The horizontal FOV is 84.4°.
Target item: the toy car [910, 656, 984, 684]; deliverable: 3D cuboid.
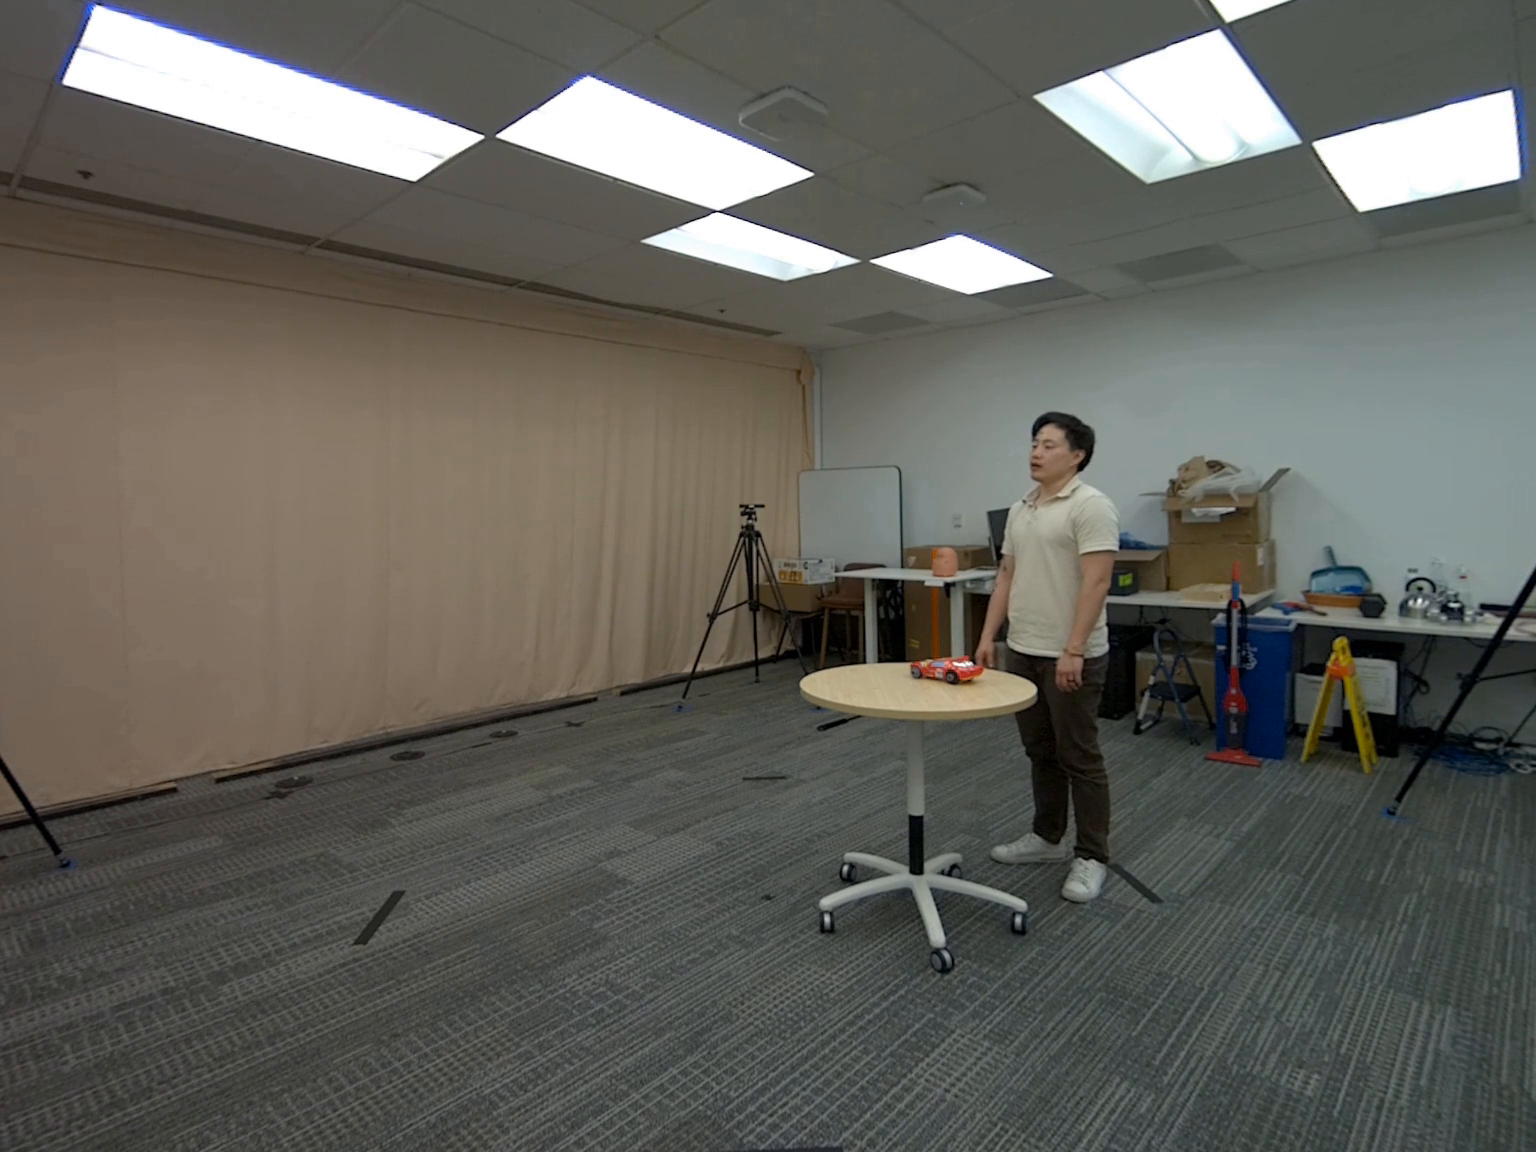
[{"bbox_3d":[0.626,0.328,2.855,0.126,0.083,0.261,-5,-5,-42],"label":"toy car"}]
